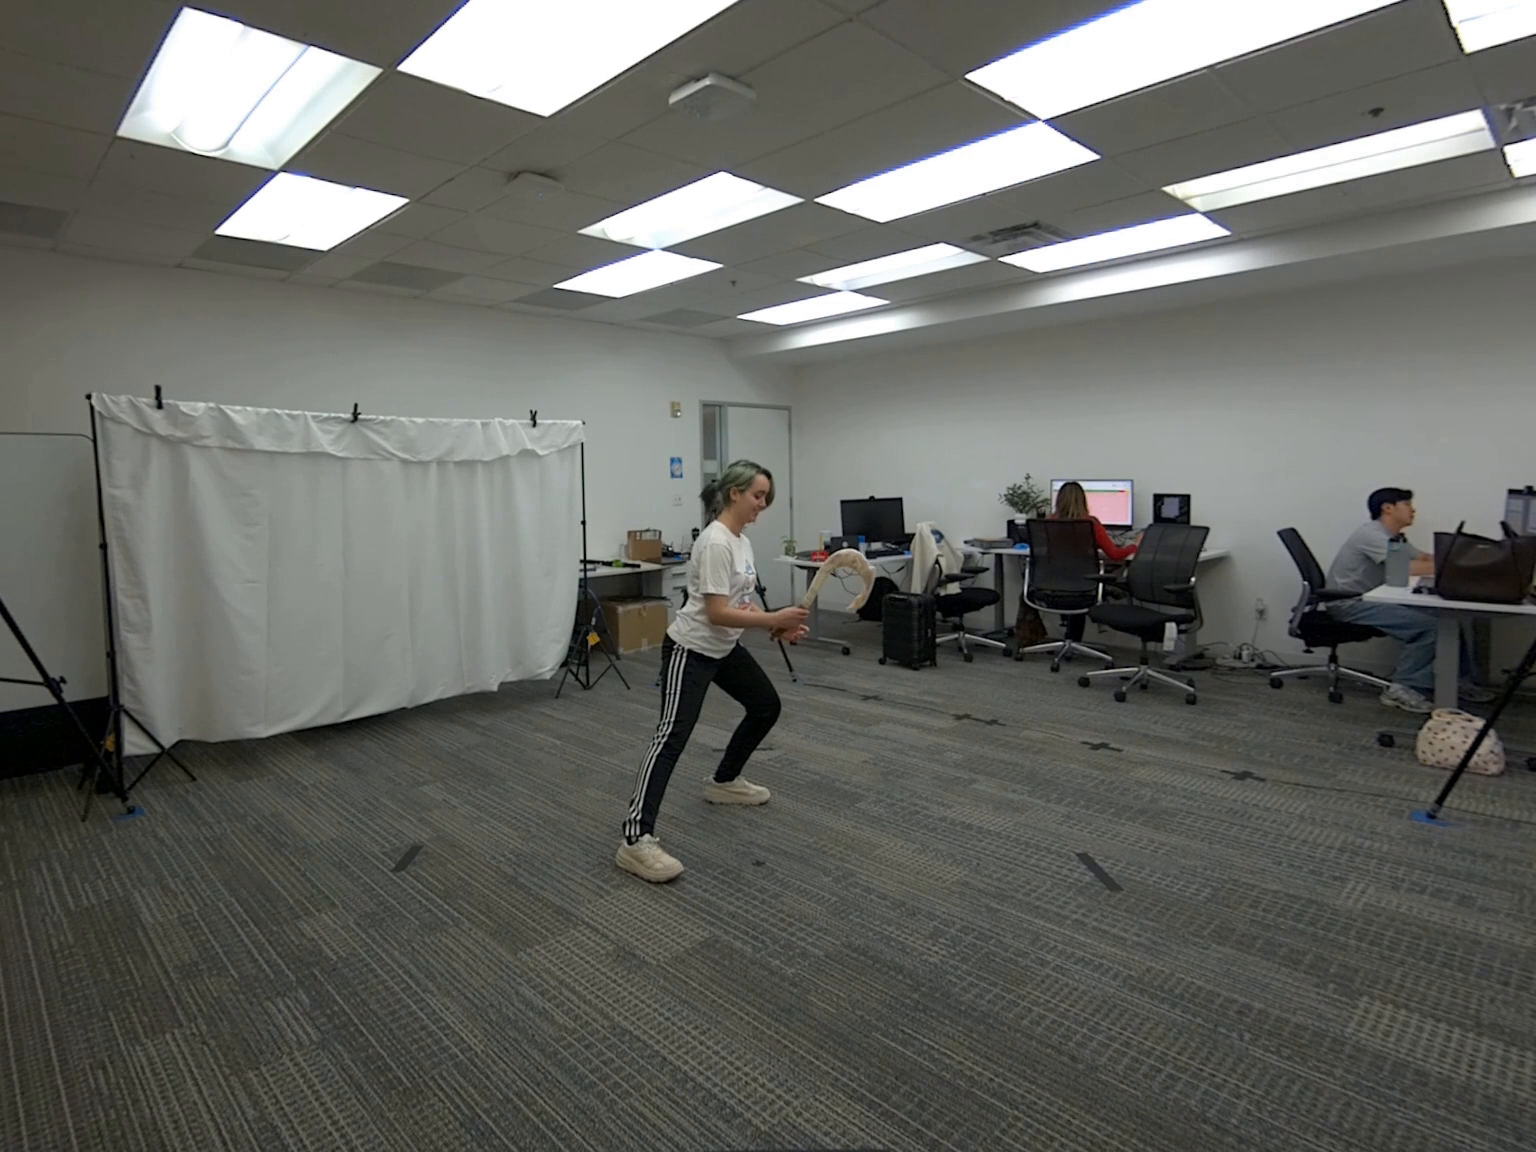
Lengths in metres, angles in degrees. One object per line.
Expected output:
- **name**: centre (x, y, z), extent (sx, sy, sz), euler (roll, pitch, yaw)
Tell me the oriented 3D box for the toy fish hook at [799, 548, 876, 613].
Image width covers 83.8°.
- **toy fish hook**: centre (0.207, 0.109, 3.355), extent (0.506, 0.230, 0.047), euler (-47, -20, 17)
